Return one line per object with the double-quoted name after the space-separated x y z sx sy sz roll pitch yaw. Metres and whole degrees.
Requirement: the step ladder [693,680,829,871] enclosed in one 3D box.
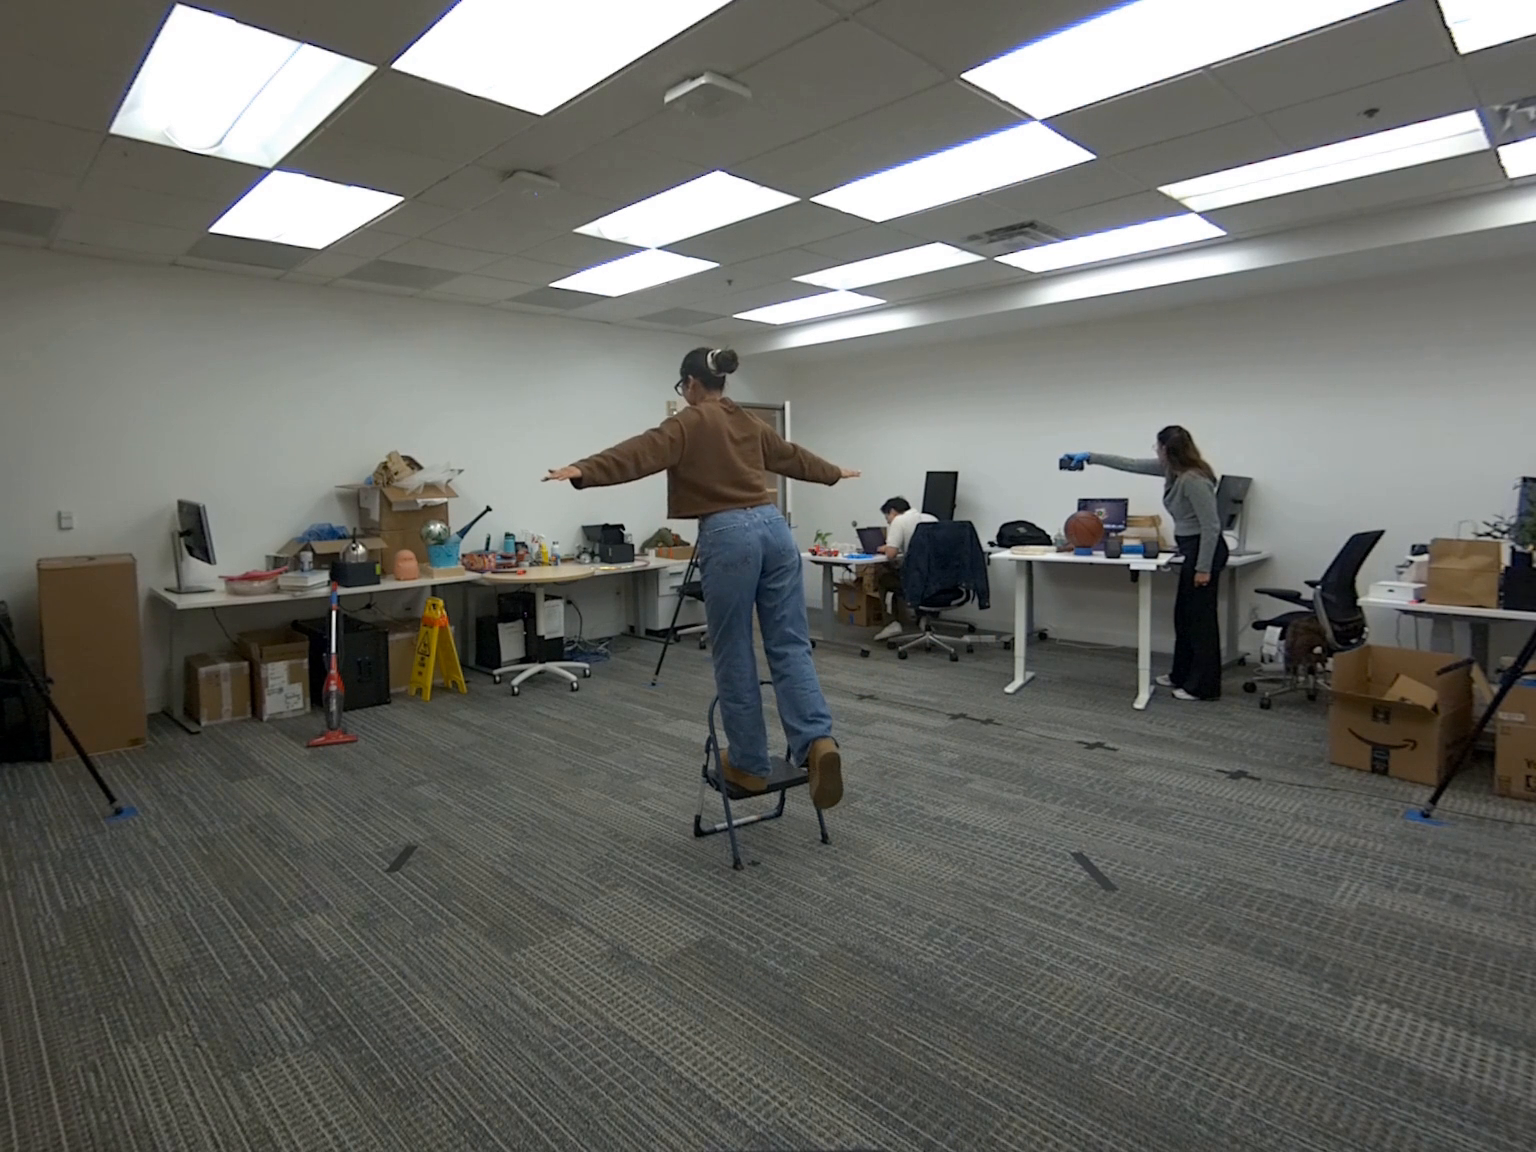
-0.030 0.722 3.291 0.420 0.604 0.359 -4 5 -33 "step ladder"
